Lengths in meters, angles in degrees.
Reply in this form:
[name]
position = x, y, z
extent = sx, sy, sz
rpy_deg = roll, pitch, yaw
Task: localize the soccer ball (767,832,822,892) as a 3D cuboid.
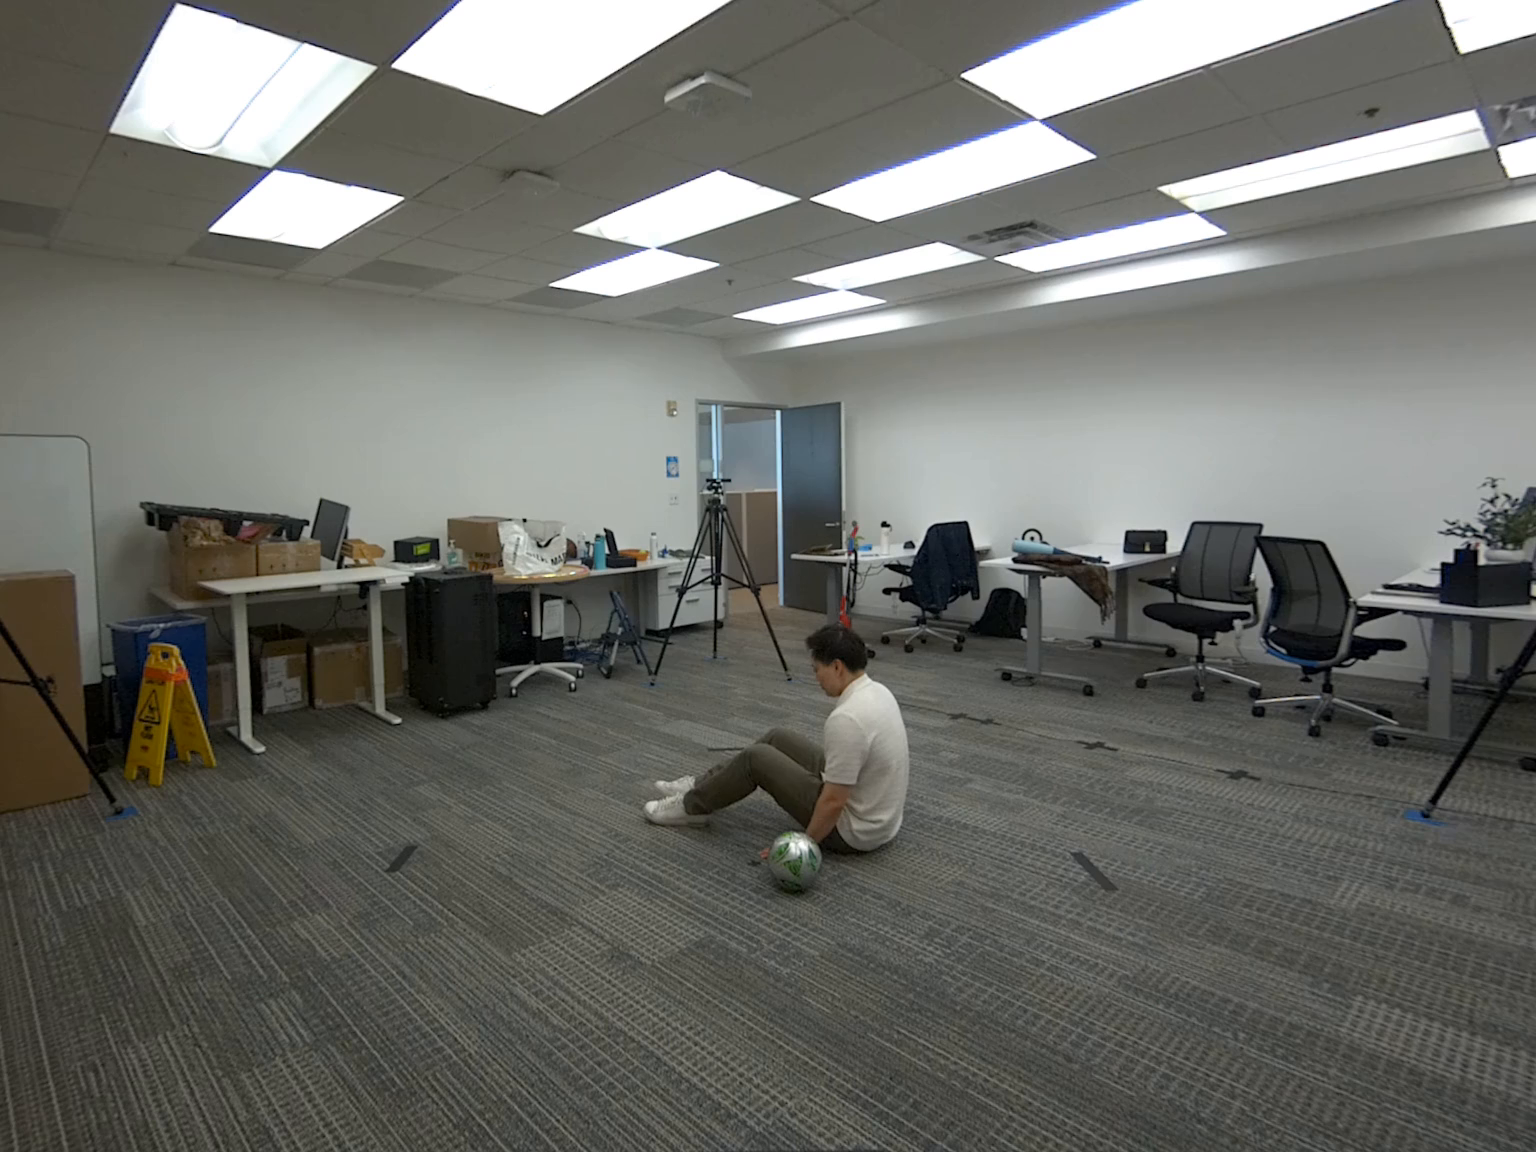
[soccer ball]
position = 0.089, 0.972, 2.913
extent = 0.187, 0.187, 0.188
rpy_deg = -1, 5, -2
